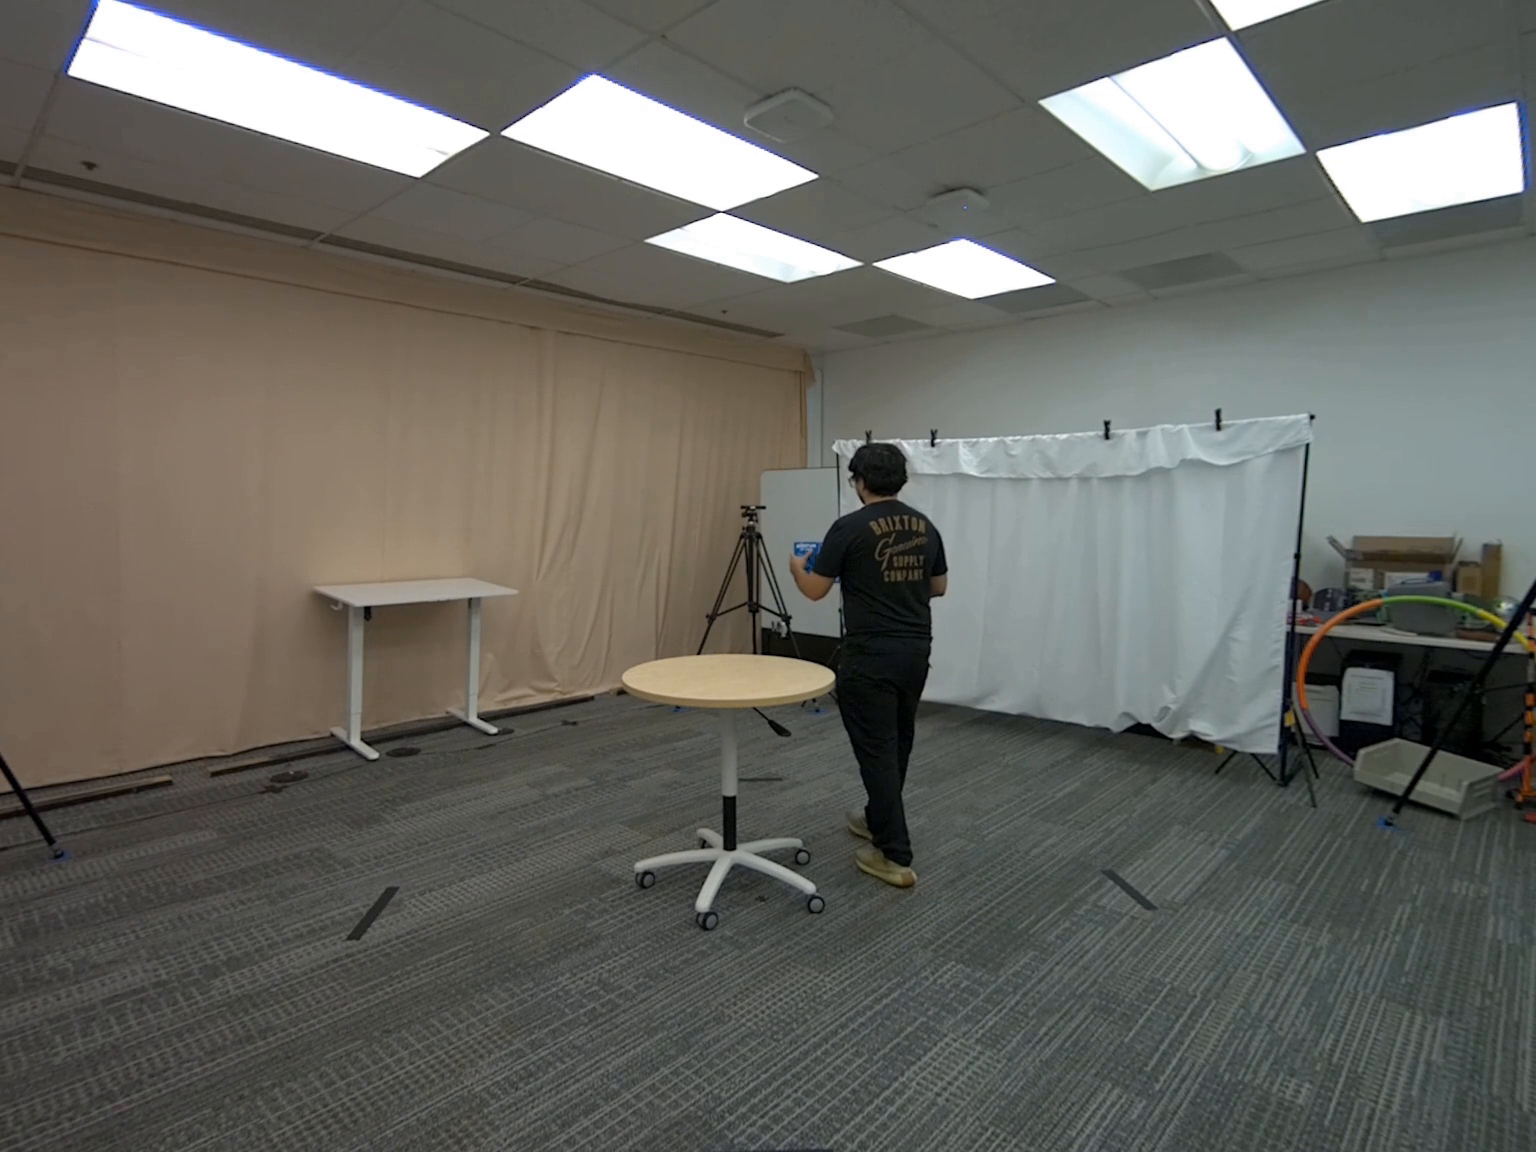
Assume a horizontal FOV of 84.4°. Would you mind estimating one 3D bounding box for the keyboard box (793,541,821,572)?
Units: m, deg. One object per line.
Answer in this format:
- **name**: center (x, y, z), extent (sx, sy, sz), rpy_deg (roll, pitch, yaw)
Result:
- **keyboard box**: center (0.329, -0.063, 3.537), extent (0.448, 0.176, 0.057), rpy_deg (0, 1, 26)
